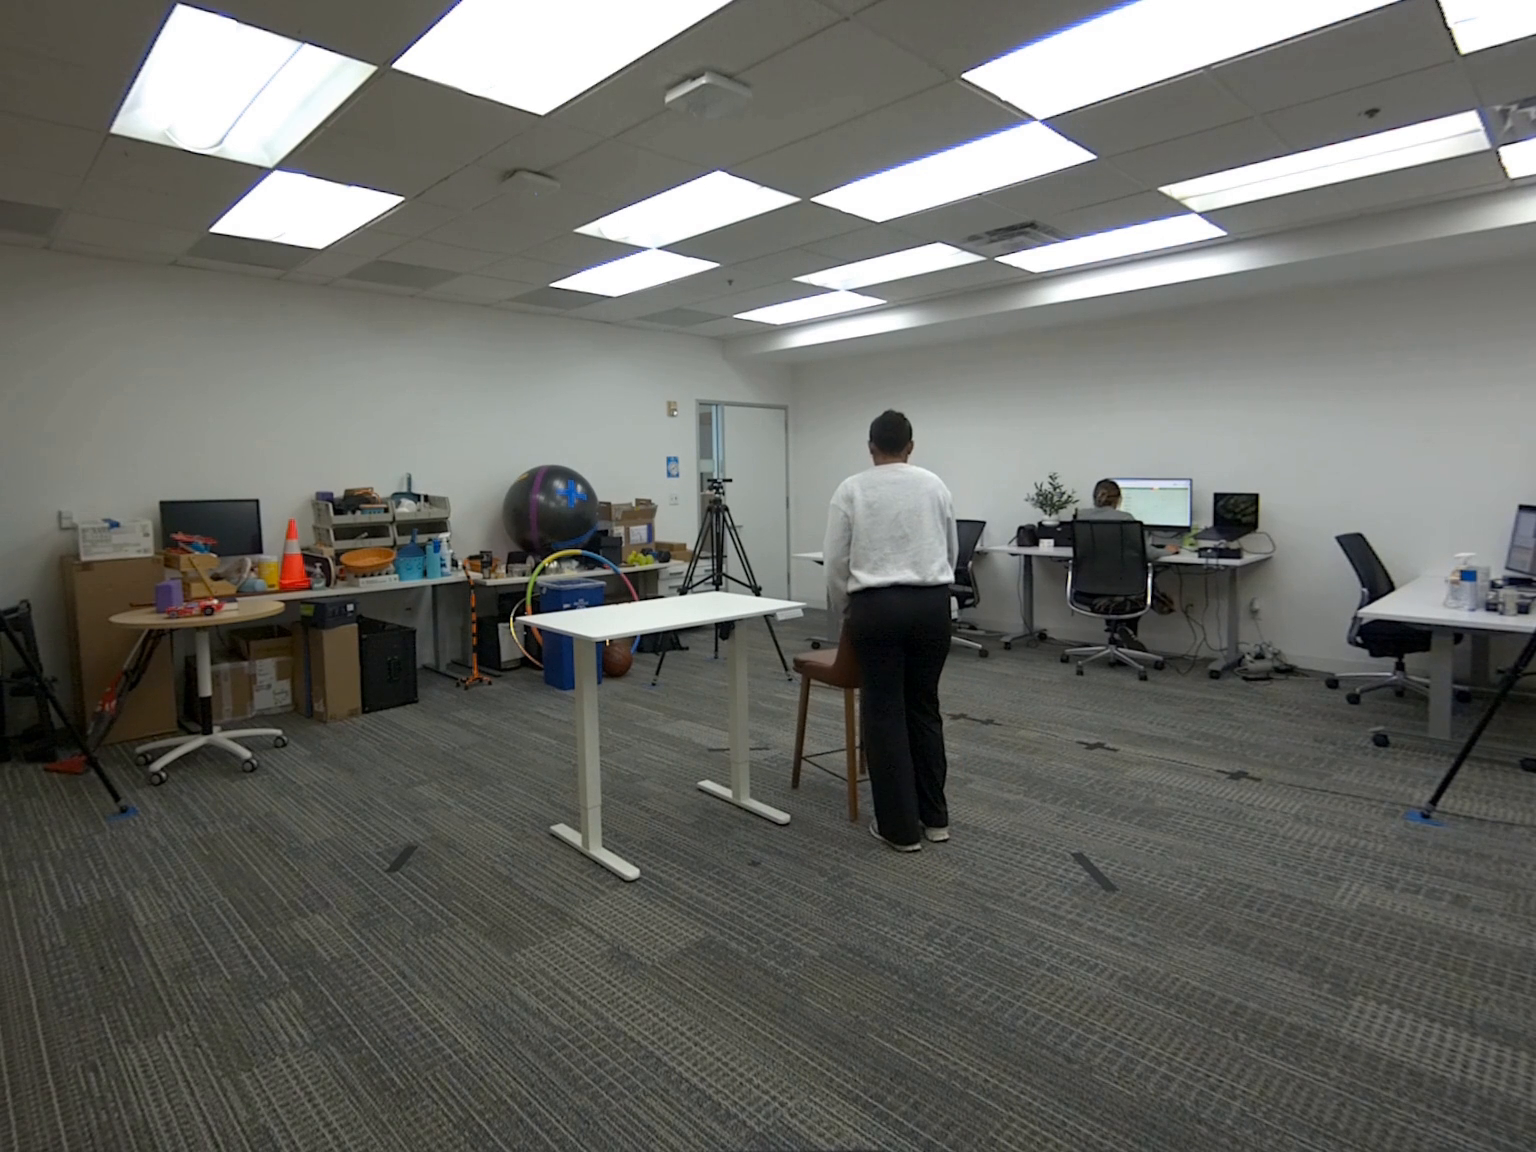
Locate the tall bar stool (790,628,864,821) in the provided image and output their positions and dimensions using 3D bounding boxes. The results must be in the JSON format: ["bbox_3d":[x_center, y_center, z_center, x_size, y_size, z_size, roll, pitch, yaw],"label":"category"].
[{"bbox_3d":[0.393,0.531,3.728,0.446,0.885,0.481,-3,7,-30],"label":"tall bar stool"}]
